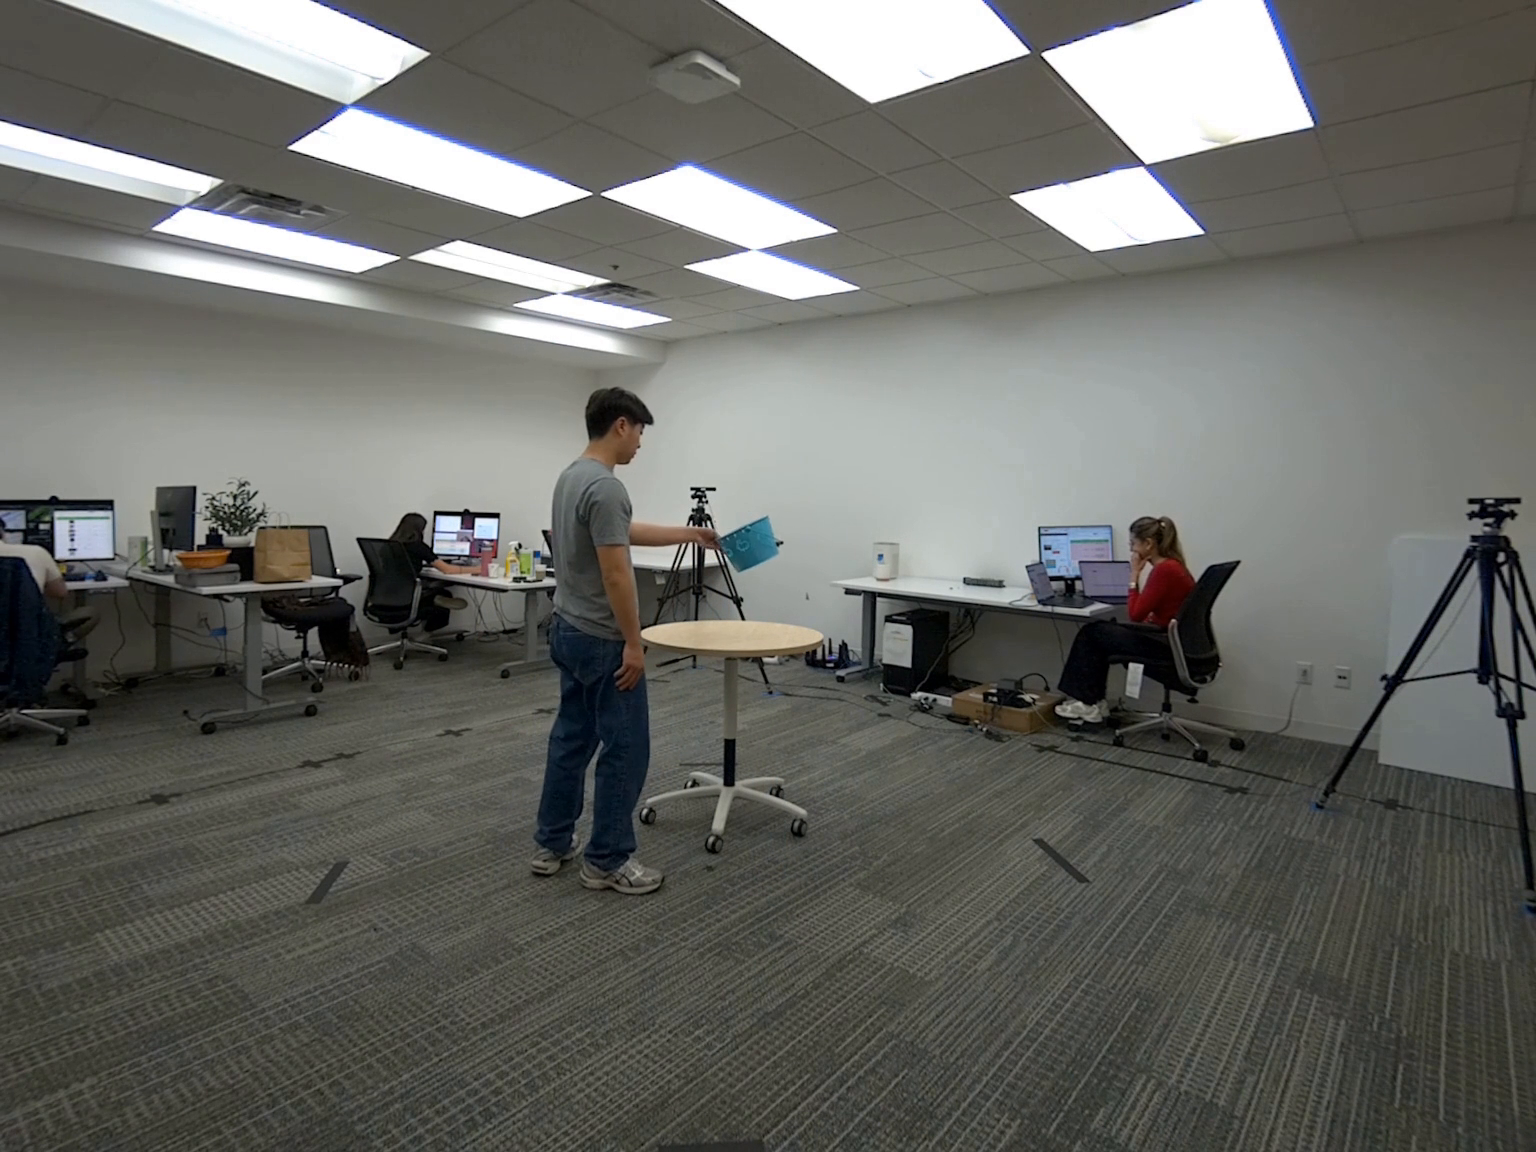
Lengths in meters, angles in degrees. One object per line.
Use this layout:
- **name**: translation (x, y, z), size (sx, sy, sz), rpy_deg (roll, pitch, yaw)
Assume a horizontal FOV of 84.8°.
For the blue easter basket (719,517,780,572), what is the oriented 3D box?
- **blue easter basket**: translation (-0.081, -0.124, 3.289), size (0.243, 0.156, 0.244), rpy_deg (-25, 3, -1)
